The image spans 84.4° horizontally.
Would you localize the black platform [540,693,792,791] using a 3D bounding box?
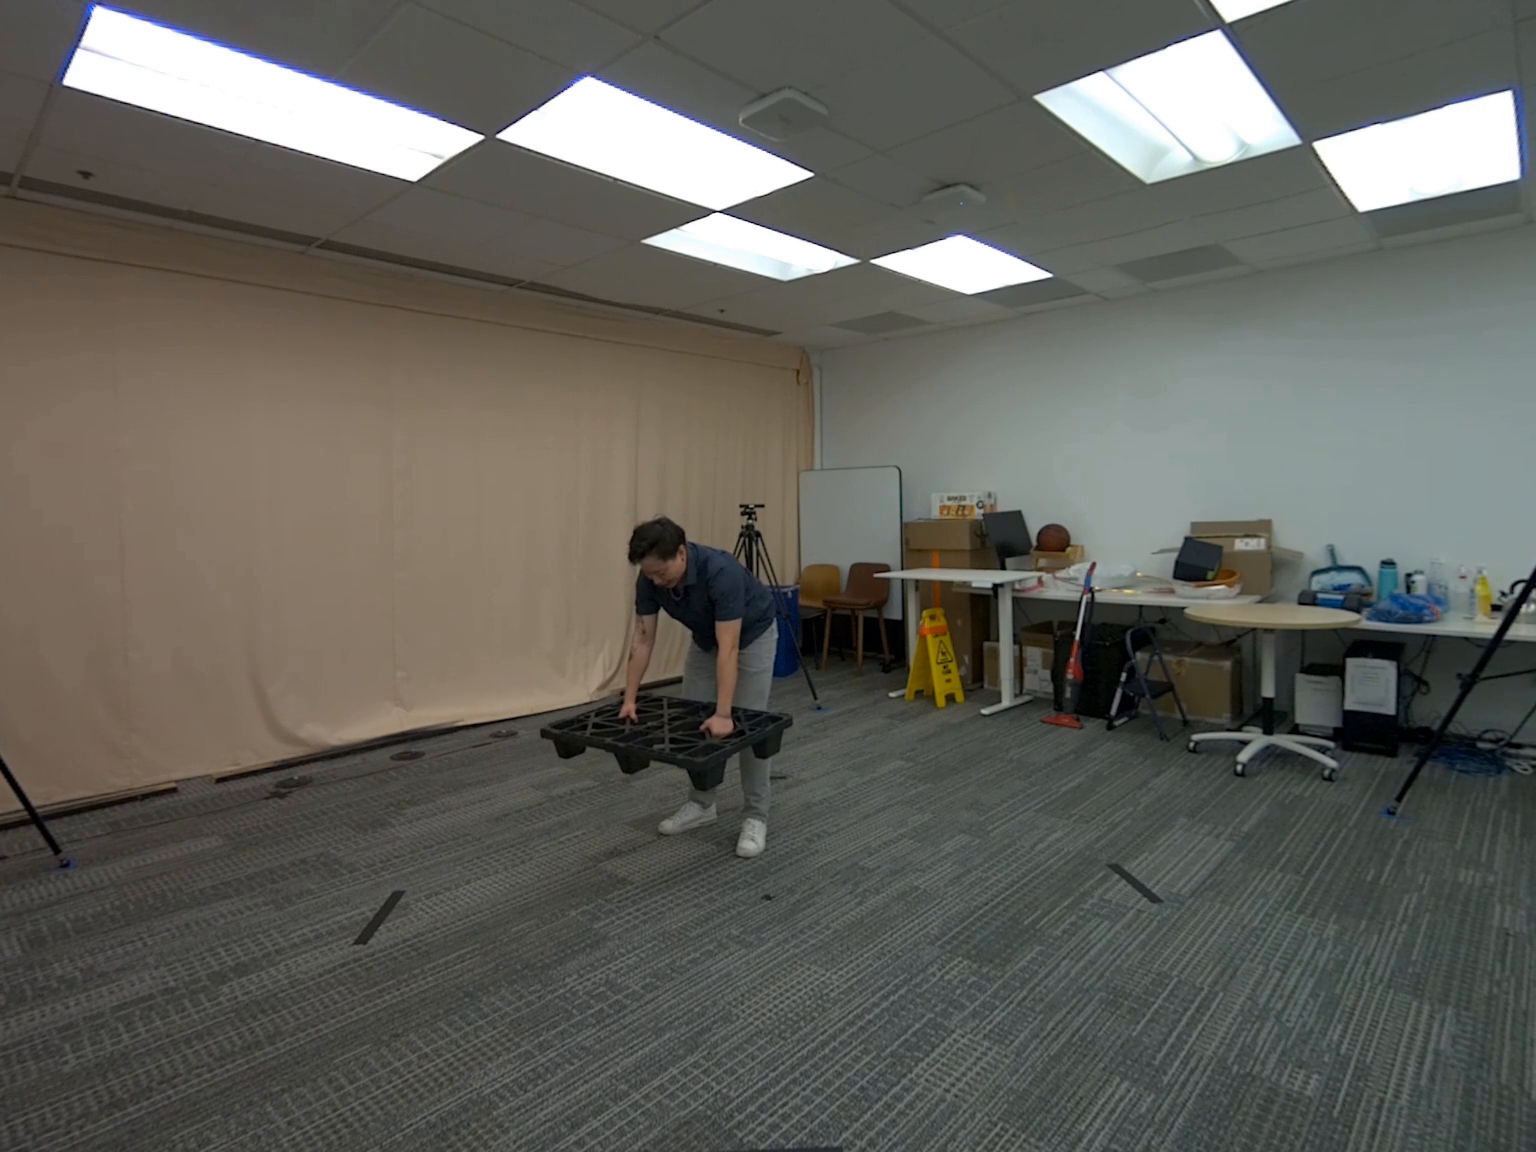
[{"bbox_3d":[-0.391,0.633,3.261,0.831,0.143,0.589,2,8,35],"label":"black platform"}]
